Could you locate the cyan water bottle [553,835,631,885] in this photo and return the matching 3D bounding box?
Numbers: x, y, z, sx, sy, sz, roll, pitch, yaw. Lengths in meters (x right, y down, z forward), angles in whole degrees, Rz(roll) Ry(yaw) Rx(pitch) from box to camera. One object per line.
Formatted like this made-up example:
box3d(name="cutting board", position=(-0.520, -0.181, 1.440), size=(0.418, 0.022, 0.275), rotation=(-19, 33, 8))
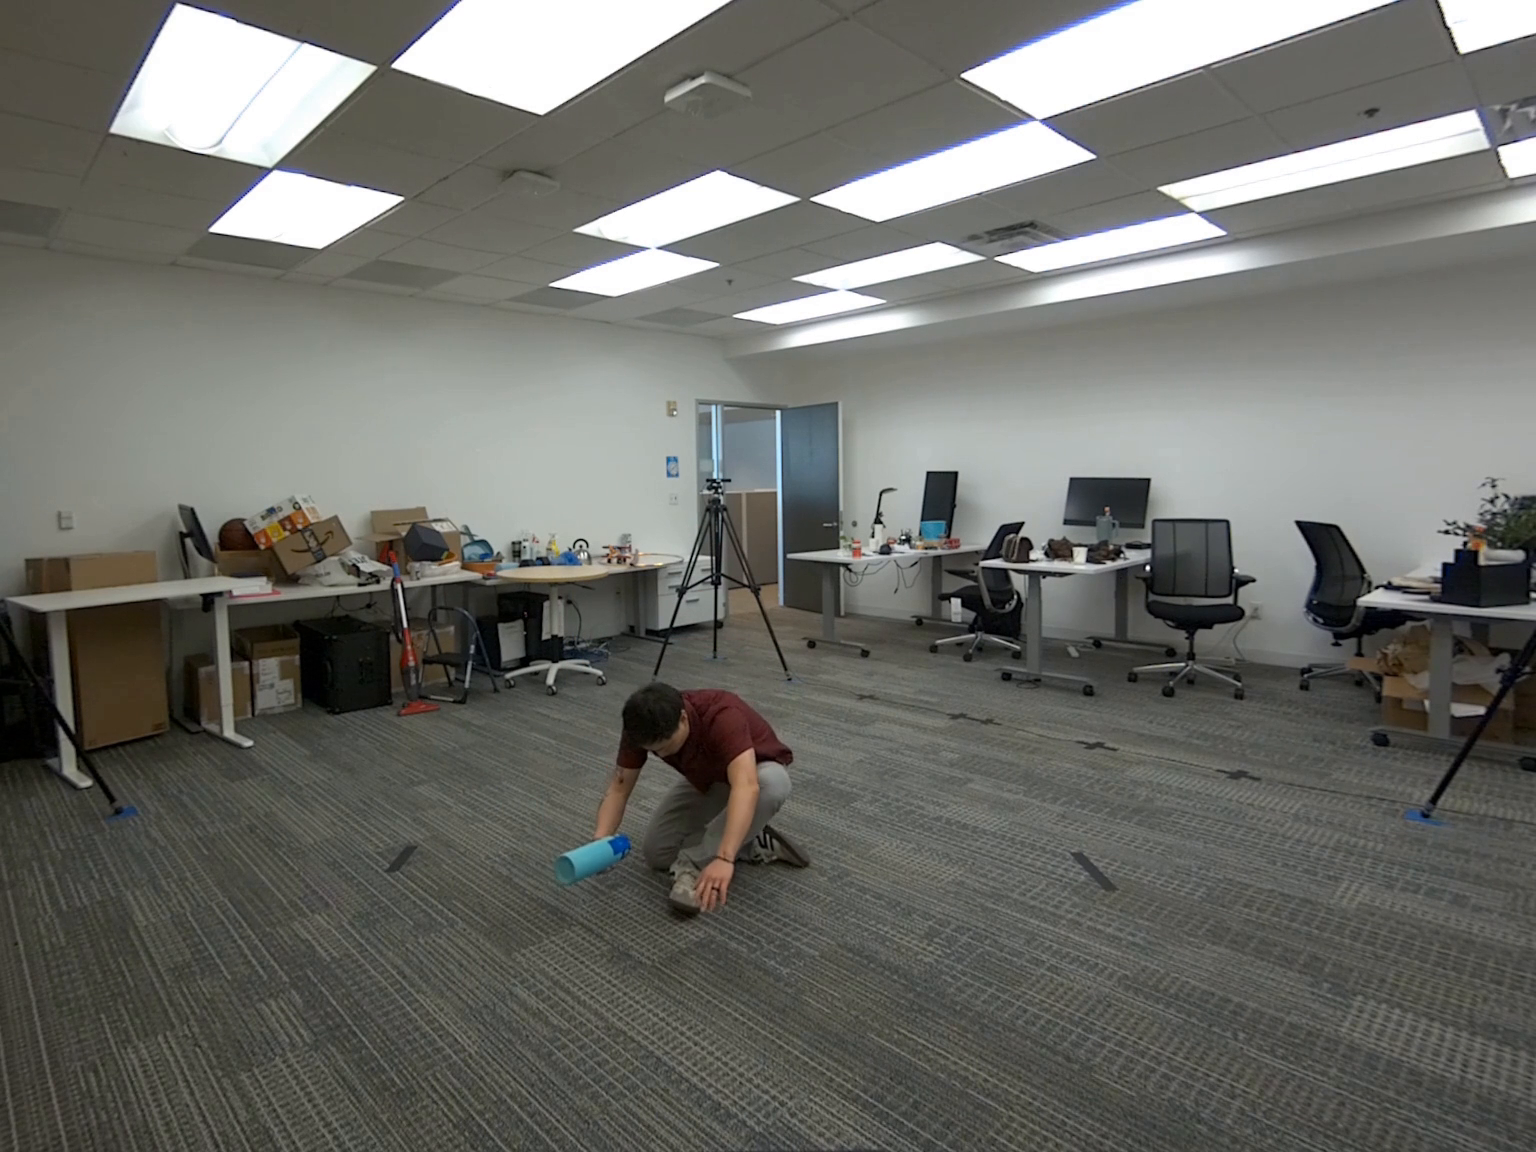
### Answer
box3d(name="cyan water bottle", position=(-0.523, 0.860, 2.629), size=(0.095, 0.092, 0.276), rotation=(2, 1, 30))
